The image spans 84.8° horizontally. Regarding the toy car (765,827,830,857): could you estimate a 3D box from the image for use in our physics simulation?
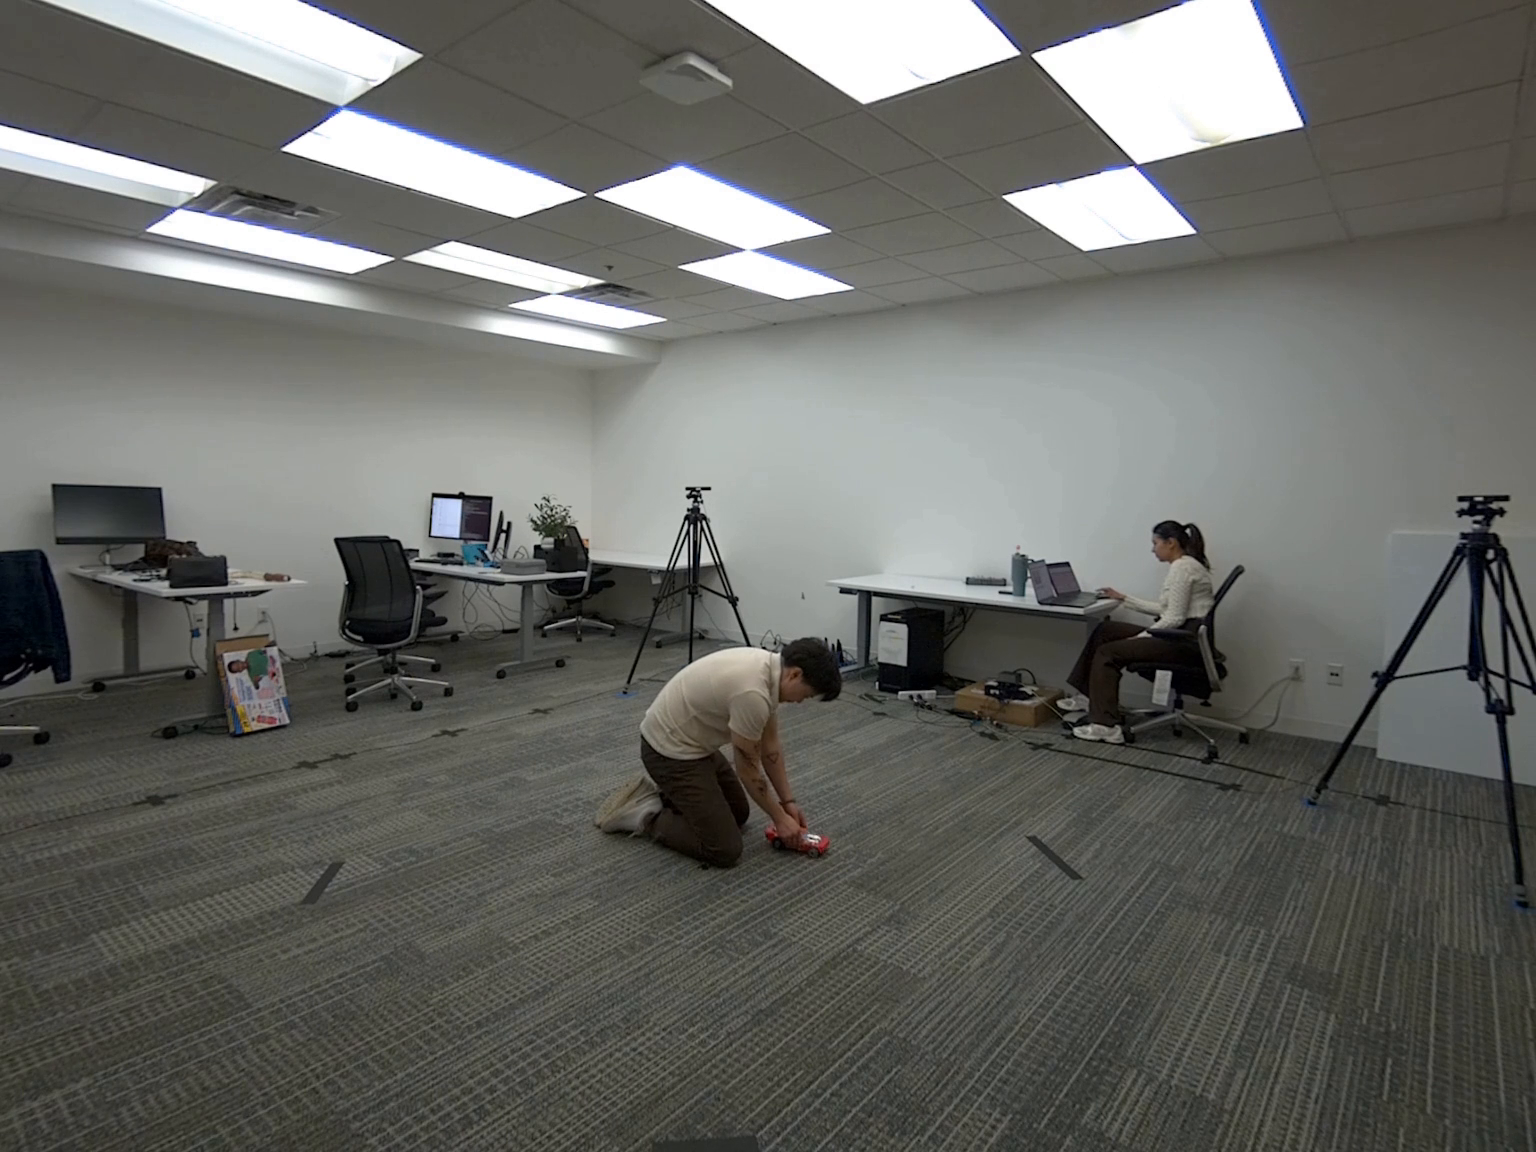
[{"bbox_3d":[0.093,1.023,3.300,0.262,0.083,0.127,16,9,24],"label":"toy car"}]
